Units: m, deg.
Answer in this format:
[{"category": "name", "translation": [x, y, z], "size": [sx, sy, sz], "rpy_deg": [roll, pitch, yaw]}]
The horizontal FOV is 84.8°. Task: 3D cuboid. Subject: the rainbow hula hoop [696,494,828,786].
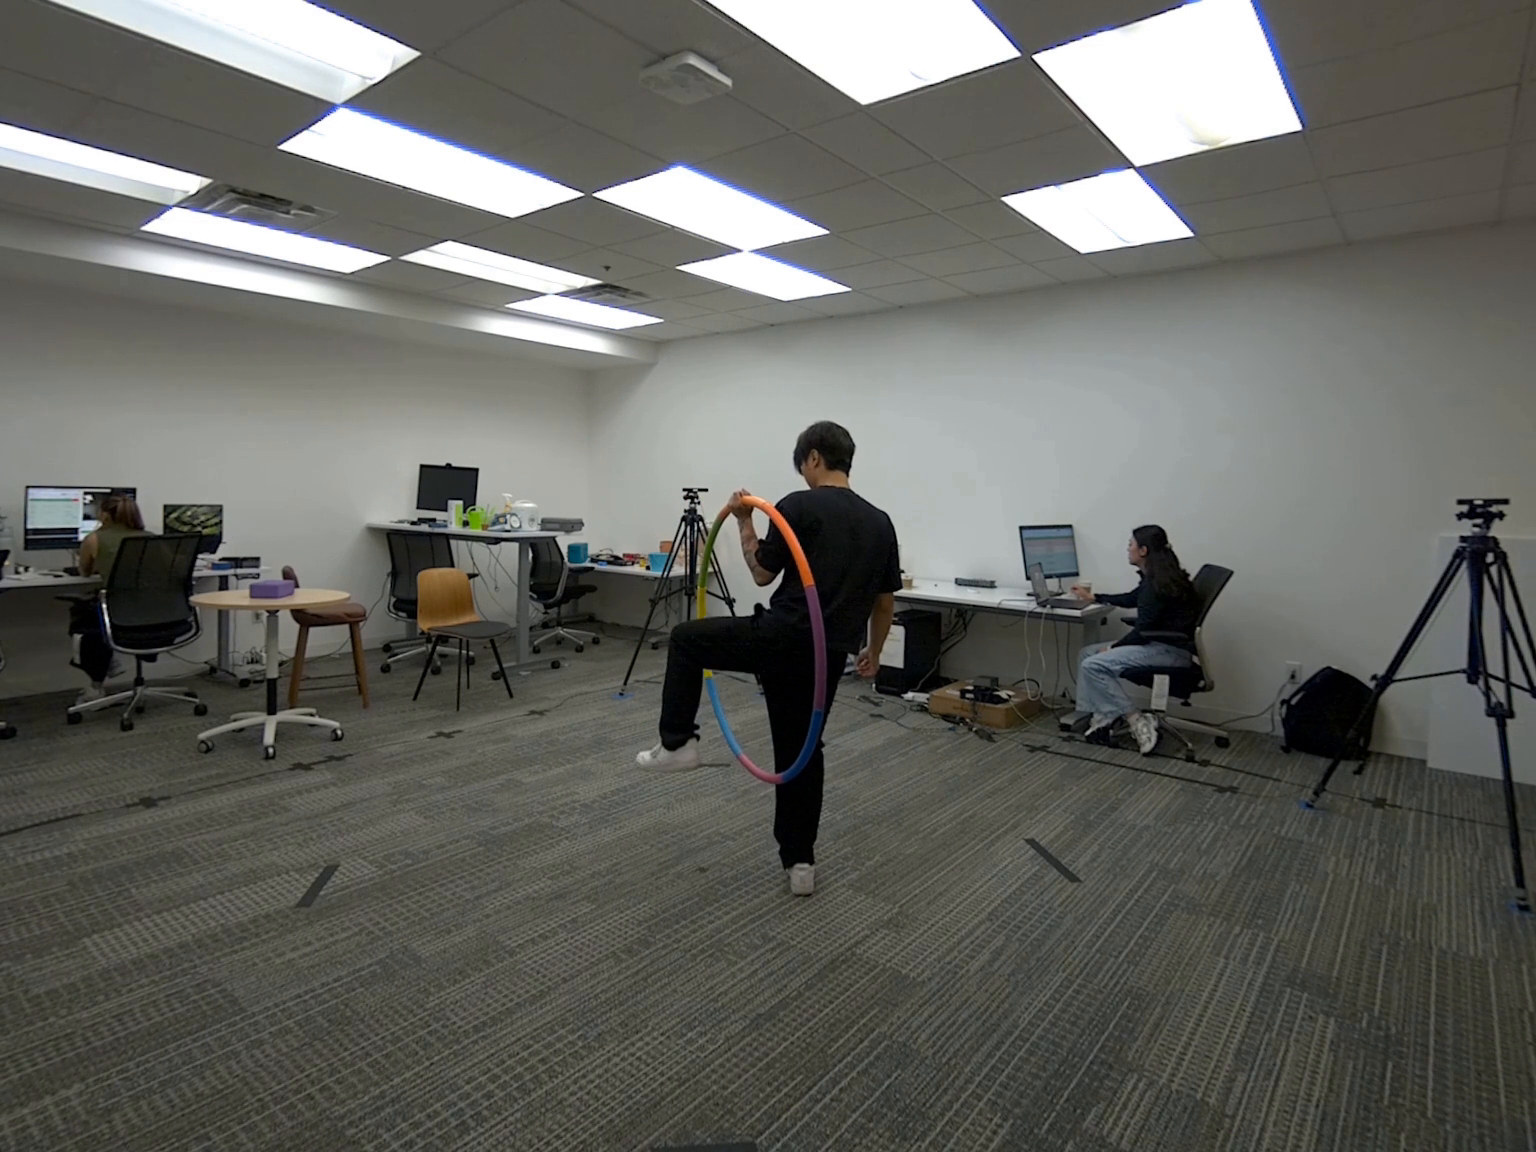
[{"category": "rainbow hula hoop", "translation": [-0.077, 0.209, 2.974], "size": [0.035, 0.973, 1.005], "rpy_deg": [-6, 6, -25]}]
